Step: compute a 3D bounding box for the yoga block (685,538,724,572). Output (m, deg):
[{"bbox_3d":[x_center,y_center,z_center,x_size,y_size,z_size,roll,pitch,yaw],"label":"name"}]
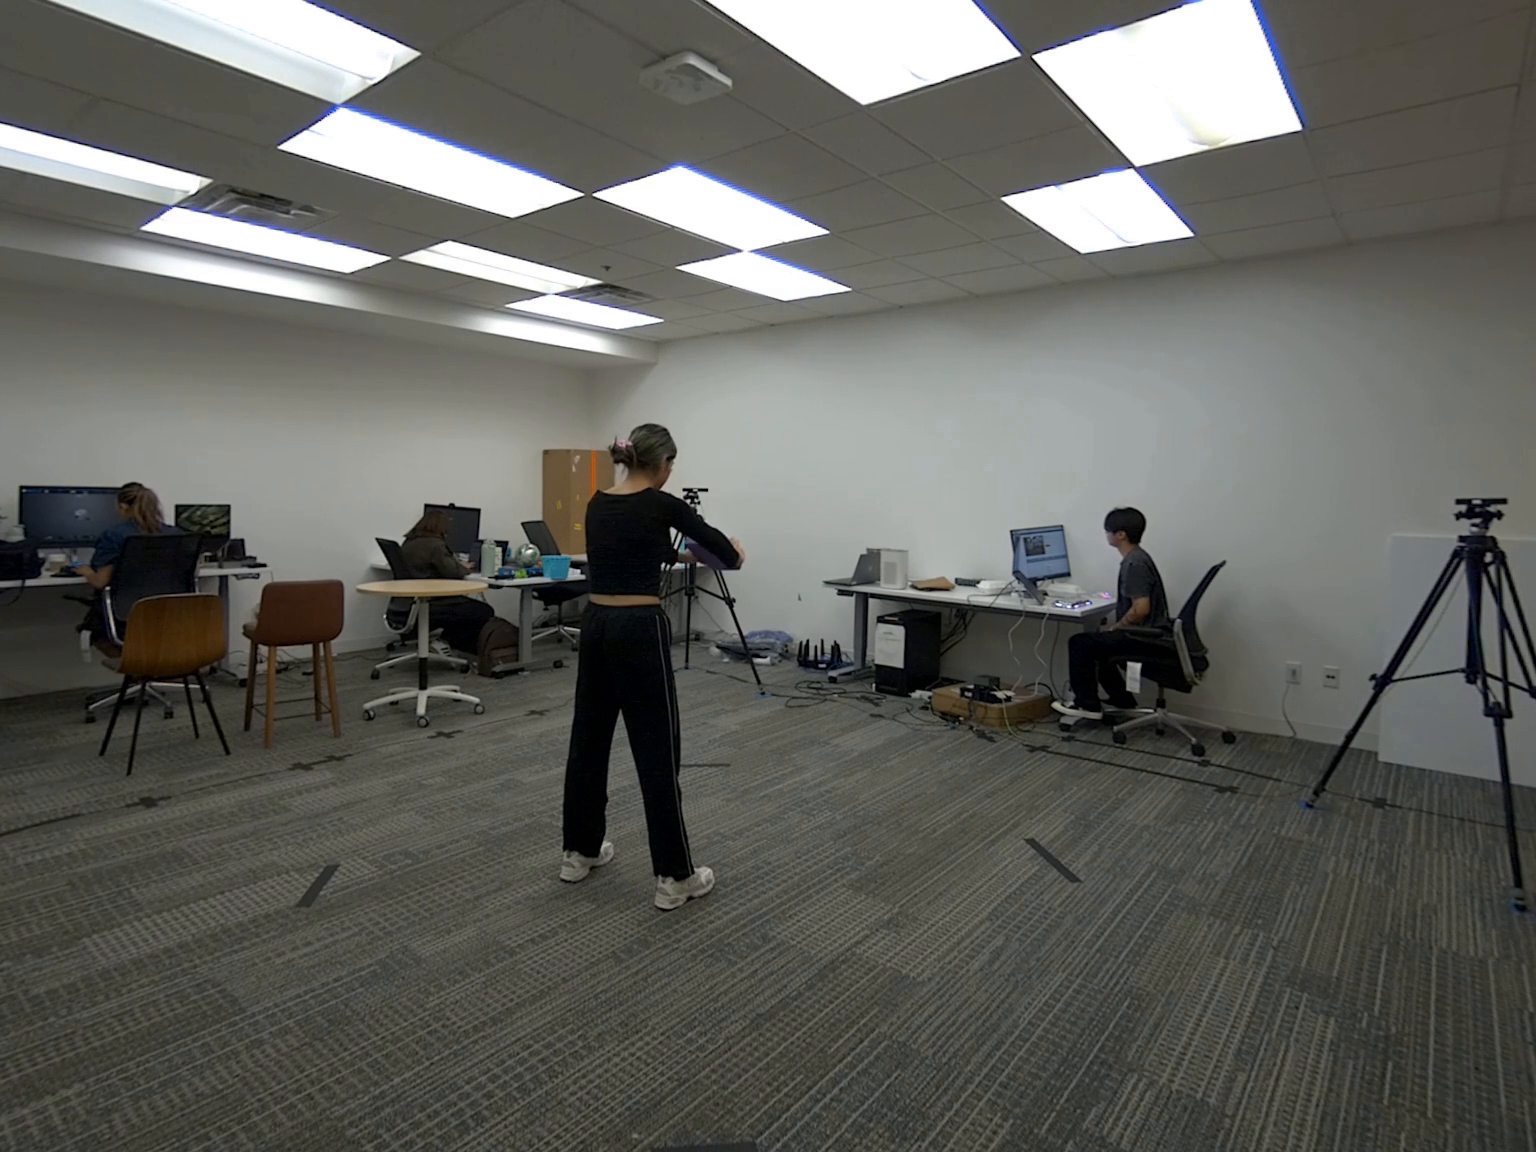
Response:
[{"bbox_3d":[-0.235,-0.104,3.448,0.153,0.077,0.220,0,-28,33],"label":"yoga block"}]
